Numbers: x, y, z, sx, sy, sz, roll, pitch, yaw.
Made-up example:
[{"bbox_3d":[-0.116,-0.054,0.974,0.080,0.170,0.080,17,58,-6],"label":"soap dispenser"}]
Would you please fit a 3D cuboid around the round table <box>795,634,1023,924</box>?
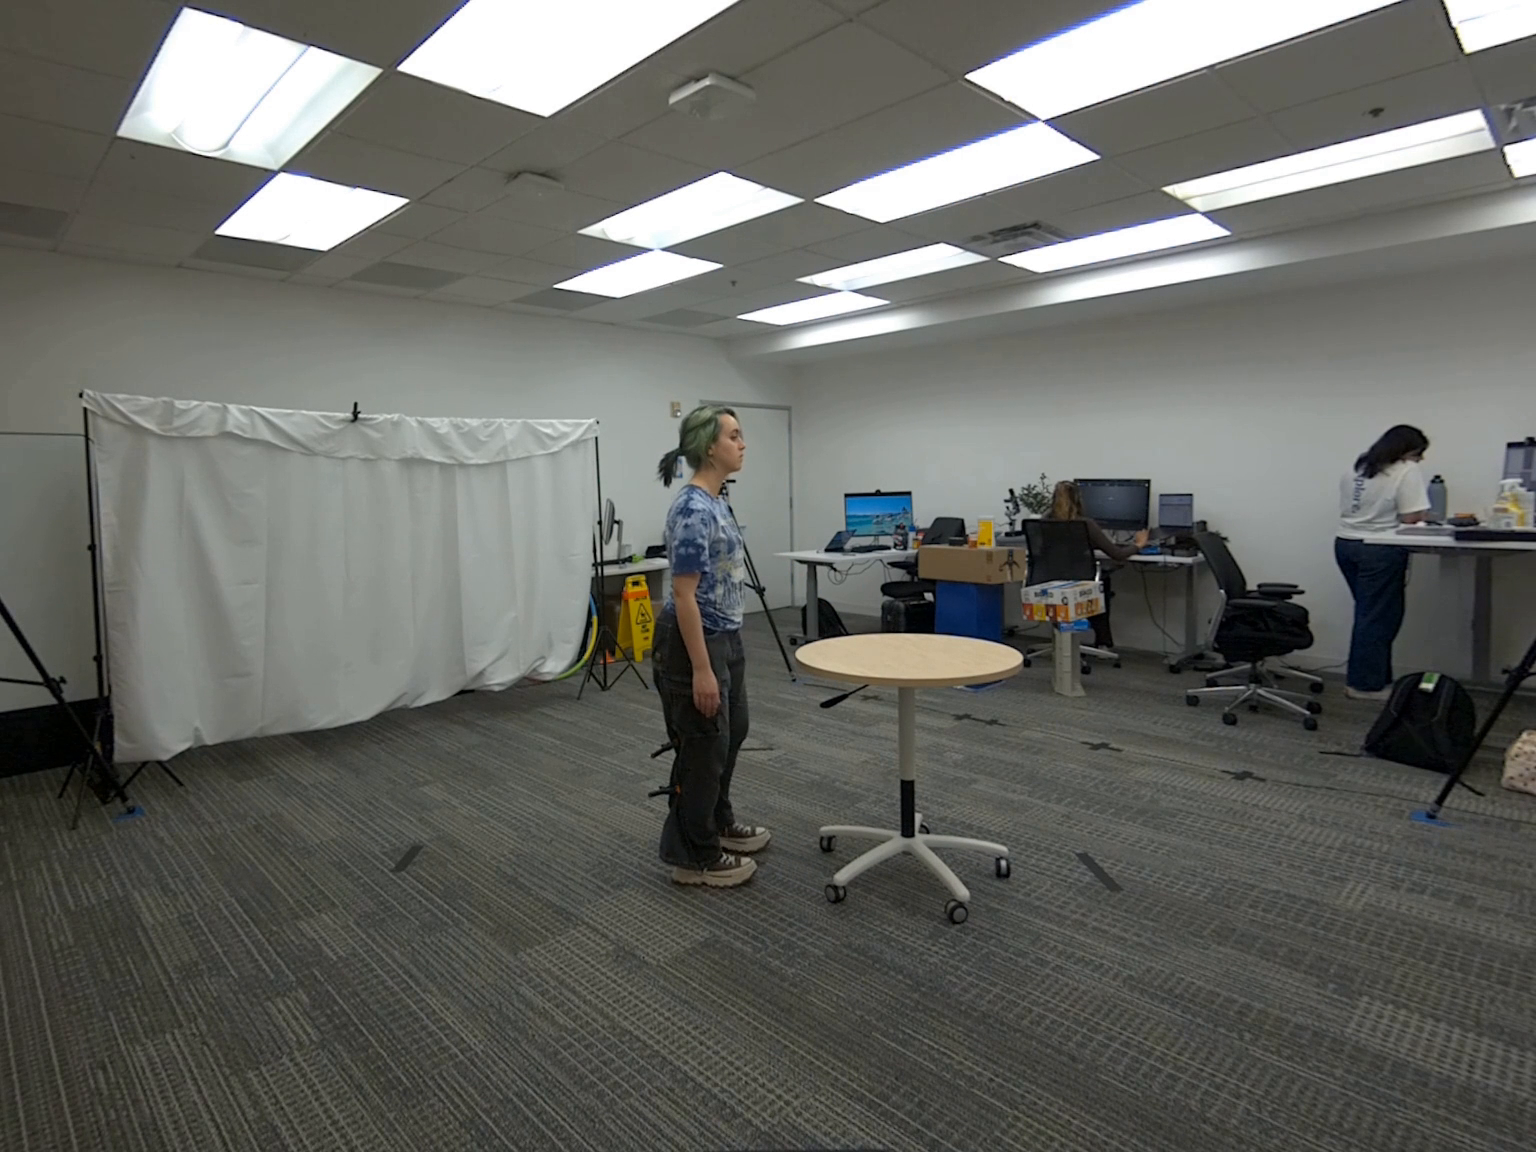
[{"bbox_3d":[0.485,0.662,2.974,0.763,0.791,0.768,-1,5,-2],"label":"round table"}]
